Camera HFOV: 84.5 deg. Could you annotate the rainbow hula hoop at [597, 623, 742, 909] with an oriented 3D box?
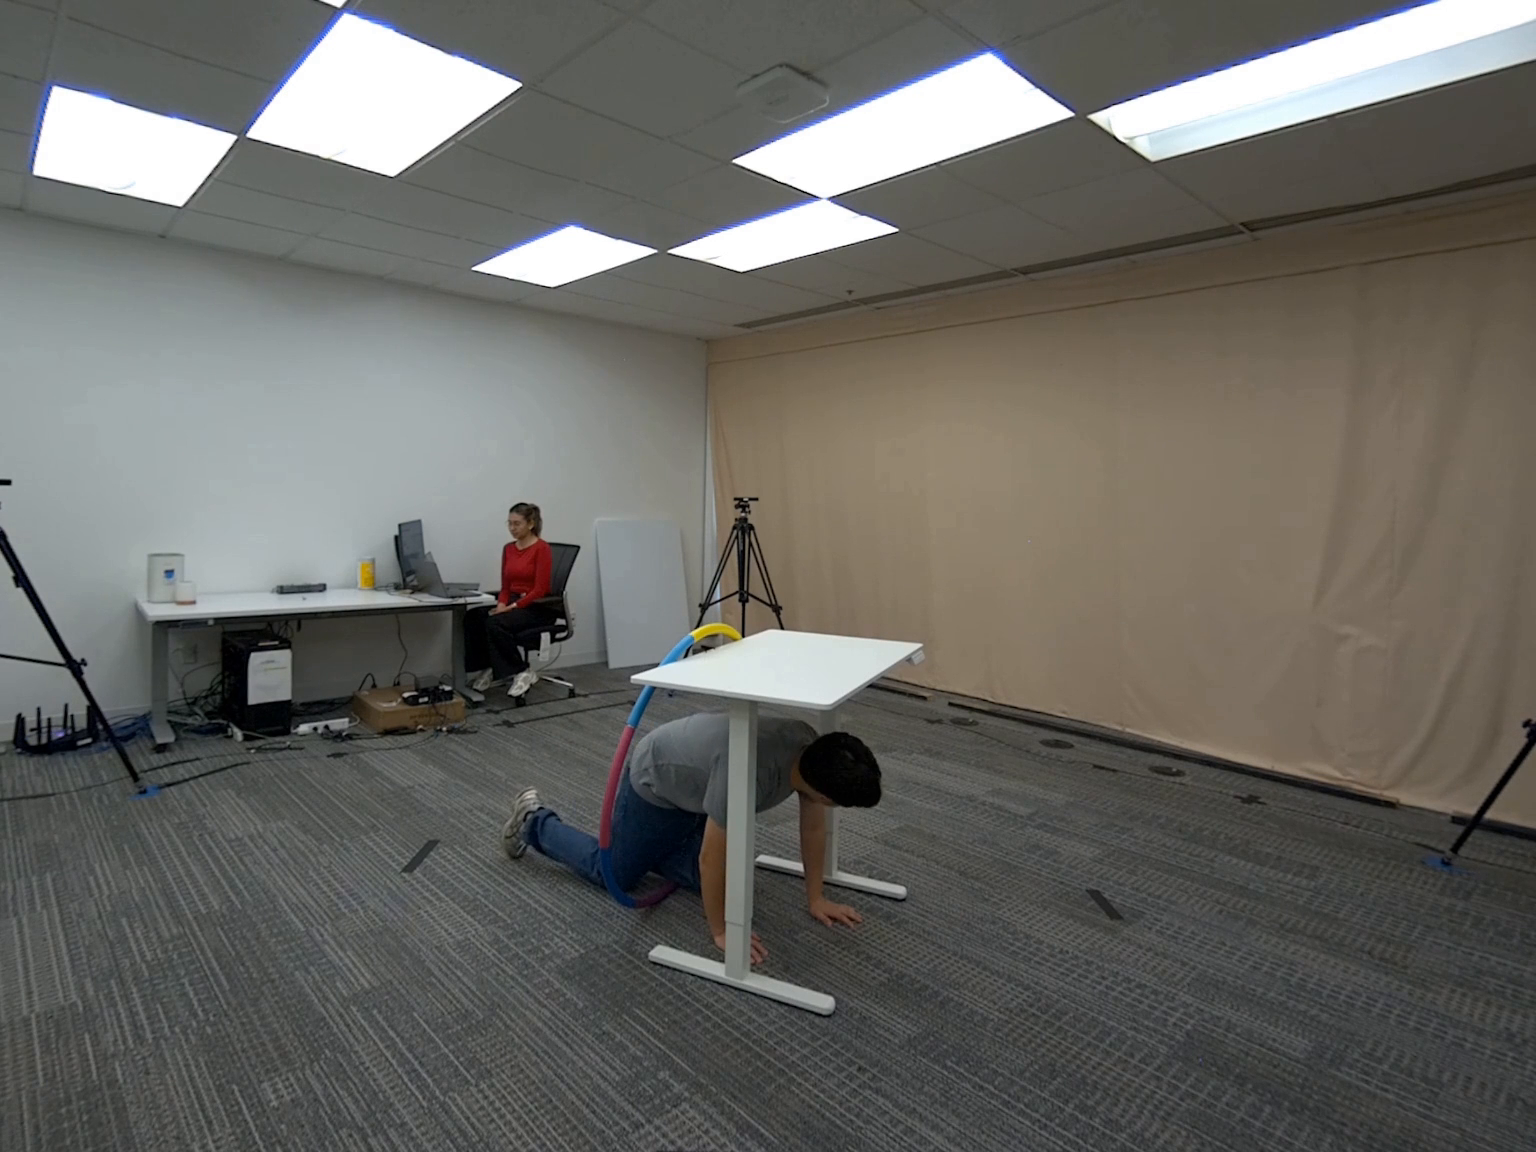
[{"bbox_3d":[-0.289,0.642,2.893,0.036,0.974,0.963,13,8,21],"label":"rainbow hula hoop"}]
